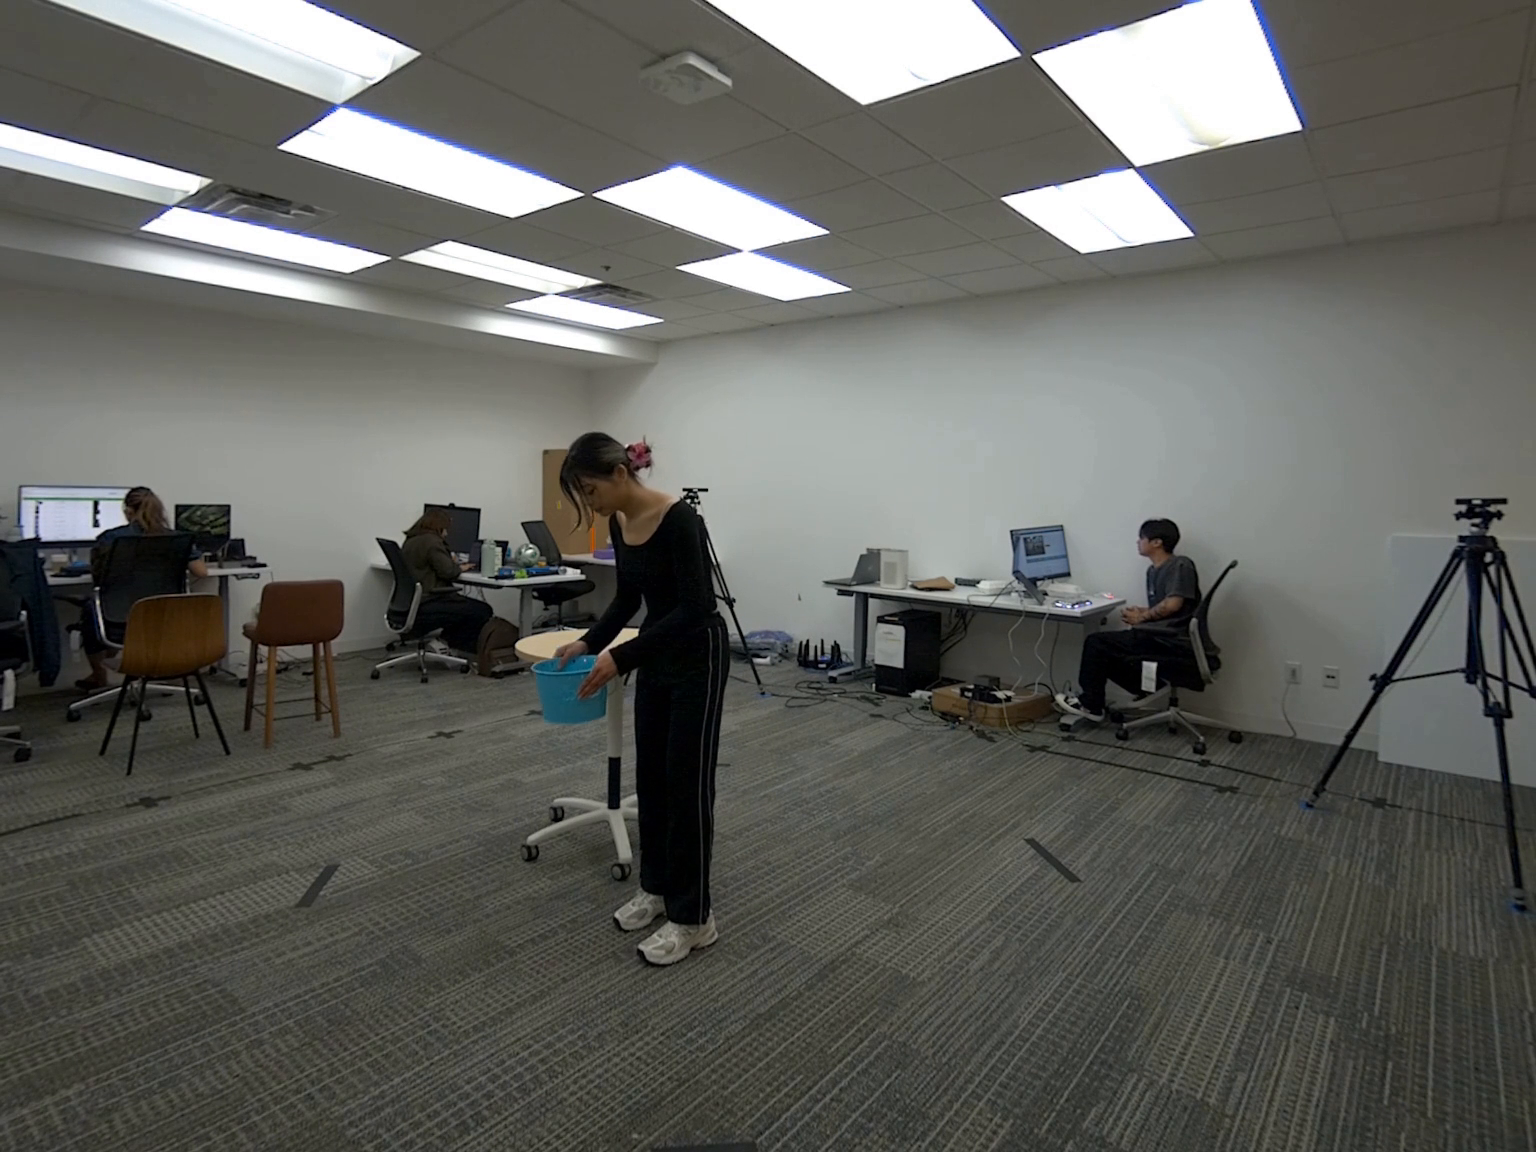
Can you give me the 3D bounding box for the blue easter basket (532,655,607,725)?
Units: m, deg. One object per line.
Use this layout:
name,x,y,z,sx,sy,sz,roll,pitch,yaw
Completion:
blue easter basket,-0.571,0.332,2.467,0.243,0.155,0.245,-2,6,-2
